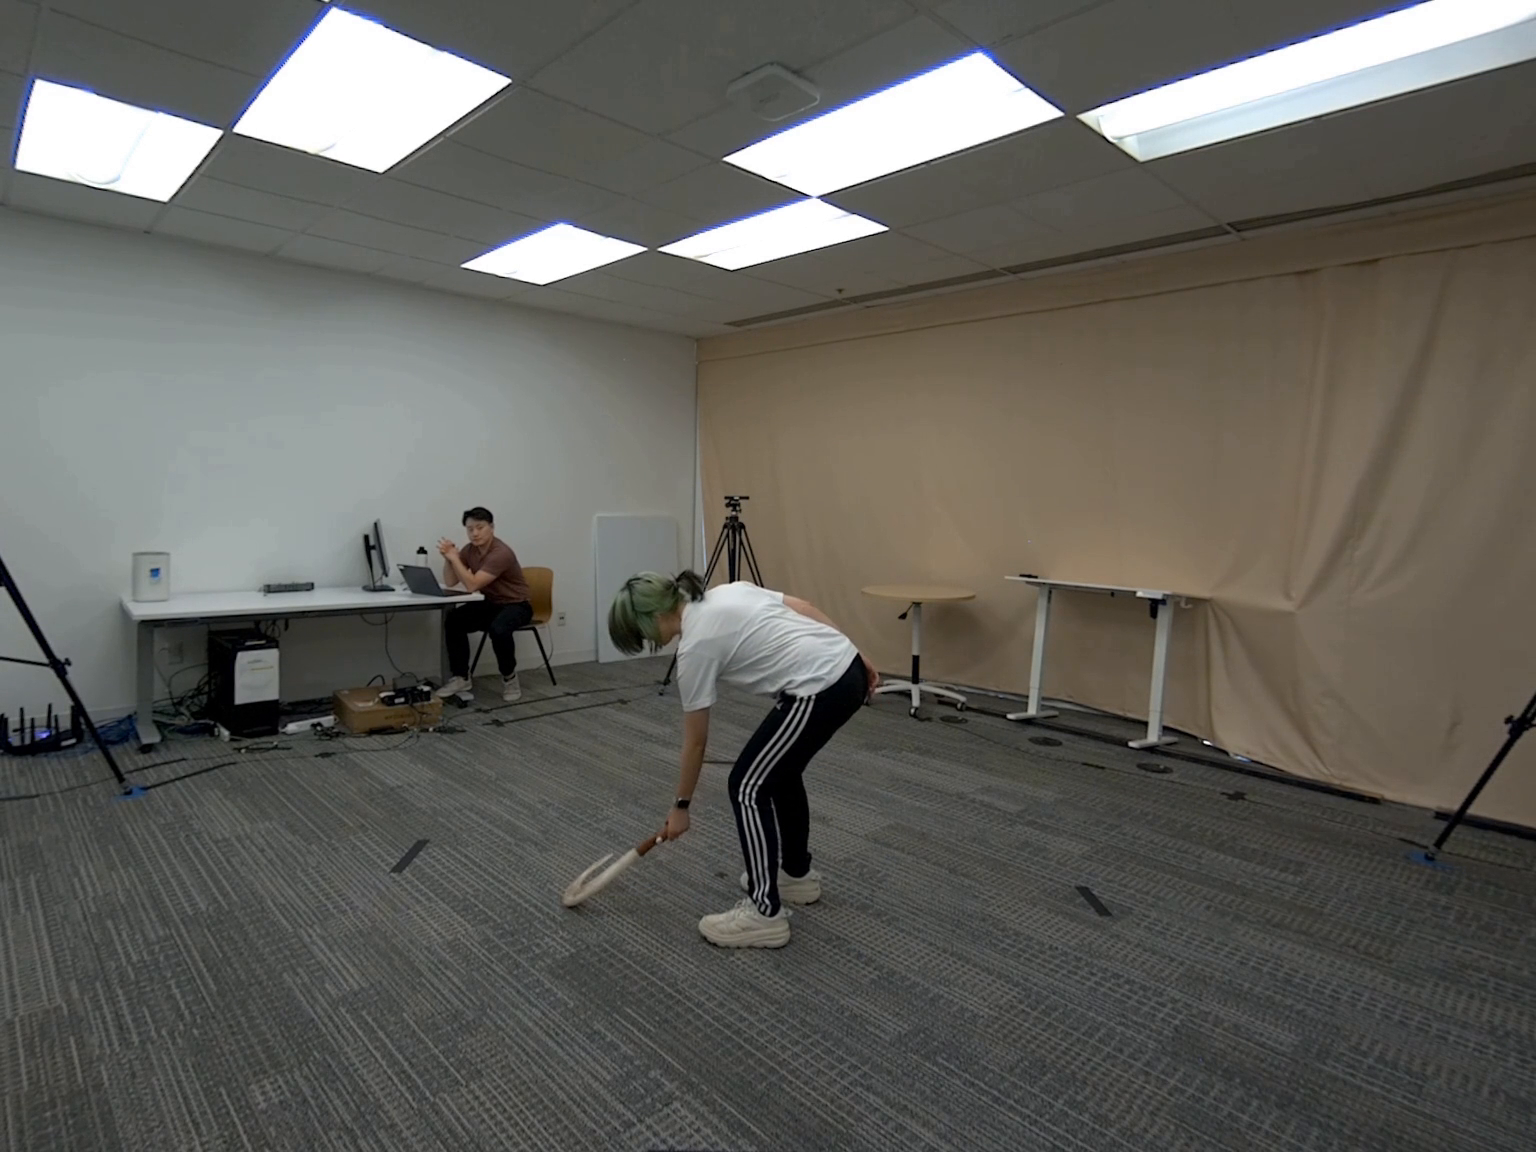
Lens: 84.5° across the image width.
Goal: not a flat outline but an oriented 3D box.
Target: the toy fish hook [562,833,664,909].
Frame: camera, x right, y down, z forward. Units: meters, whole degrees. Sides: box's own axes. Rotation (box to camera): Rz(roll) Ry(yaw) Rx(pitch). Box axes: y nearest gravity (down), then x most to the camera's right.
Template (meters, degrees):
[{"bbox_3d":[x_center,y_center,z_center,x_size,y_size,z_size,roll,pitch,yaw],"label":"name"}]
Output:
[{"bbox_3d":[-0.503,0.969,2.893,0.506,0.048,0.227,-34,10,-3],"label":"toy fish hook"}]
